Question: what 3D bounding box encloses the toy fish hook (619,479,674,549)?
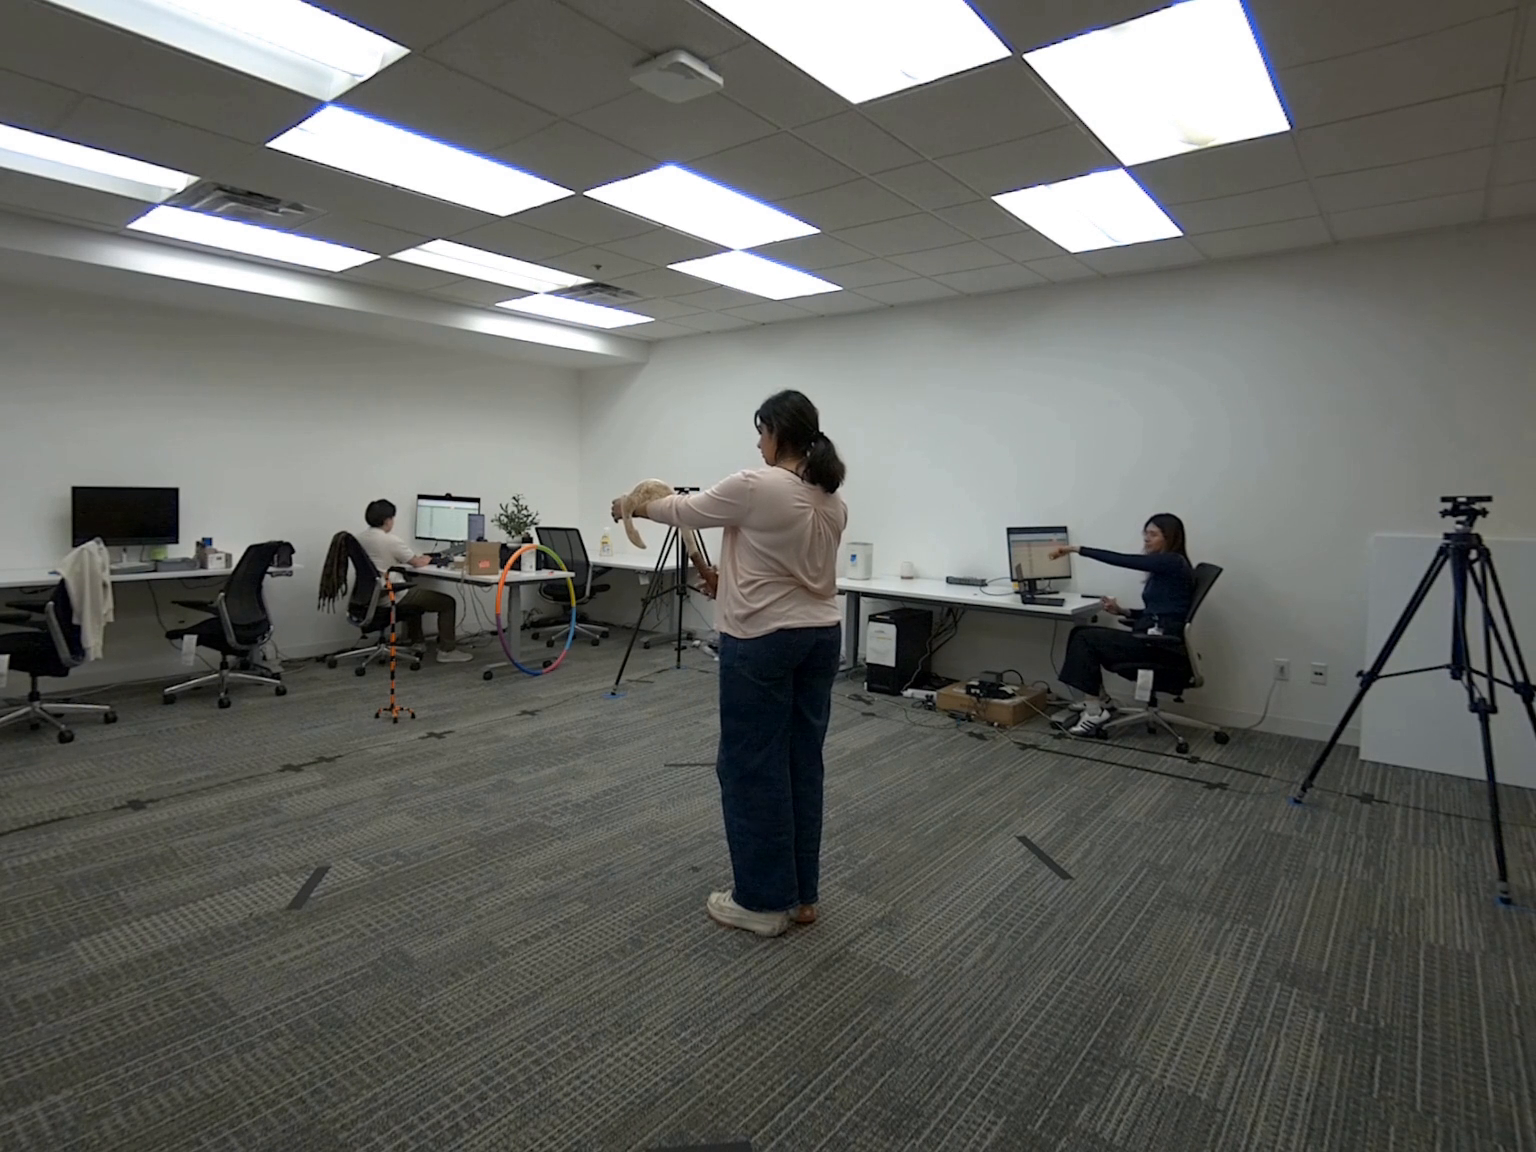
[{"bbox_3d":[-0.329,-0.094,2.918,0.223,0.503,0.049,-34,4,-13],"label":"toy fish hook"}]
